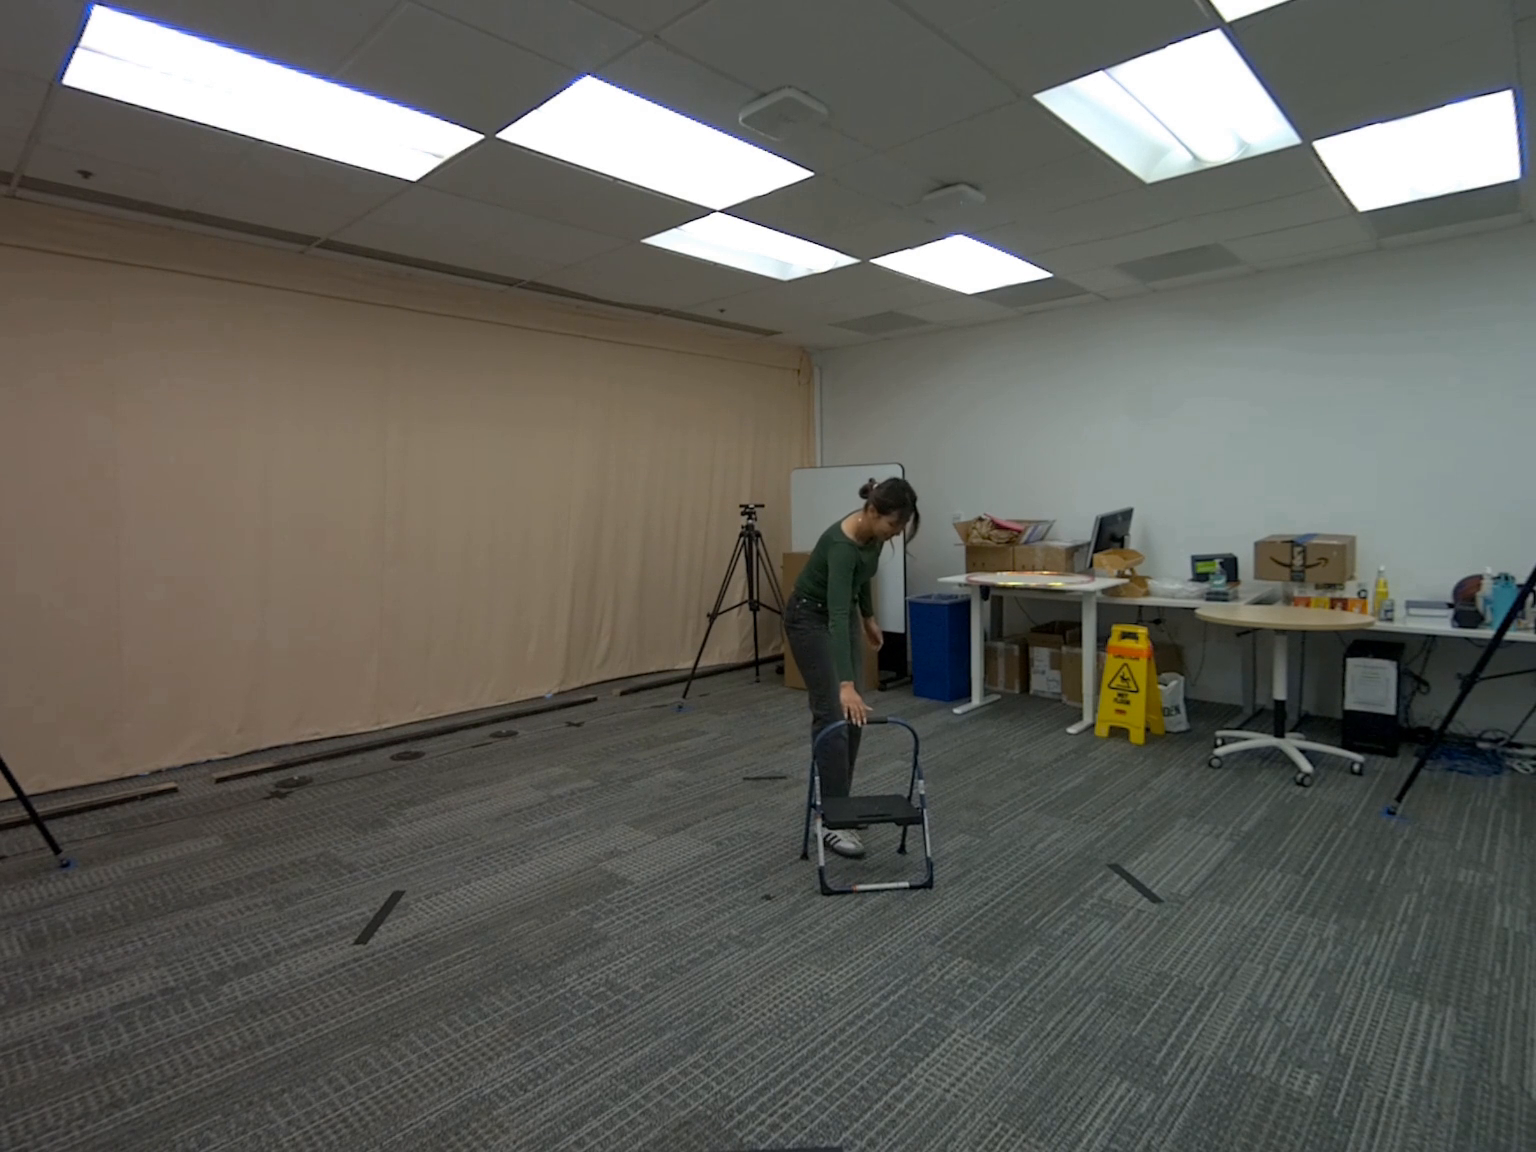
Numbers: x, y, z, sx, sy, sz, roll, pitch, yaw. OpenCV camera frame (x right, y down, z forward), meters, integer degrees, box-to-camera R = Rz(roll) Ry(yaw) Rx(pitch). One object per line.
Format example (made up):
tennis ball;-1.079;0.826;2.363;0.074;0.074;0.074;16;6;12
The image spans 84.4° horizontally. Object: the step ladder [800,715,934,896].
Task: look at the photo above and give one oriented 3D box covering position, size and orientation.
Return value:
step ladder;0.360;0.816;3.157;0.427;0.605;0.353;-1;3;-9
